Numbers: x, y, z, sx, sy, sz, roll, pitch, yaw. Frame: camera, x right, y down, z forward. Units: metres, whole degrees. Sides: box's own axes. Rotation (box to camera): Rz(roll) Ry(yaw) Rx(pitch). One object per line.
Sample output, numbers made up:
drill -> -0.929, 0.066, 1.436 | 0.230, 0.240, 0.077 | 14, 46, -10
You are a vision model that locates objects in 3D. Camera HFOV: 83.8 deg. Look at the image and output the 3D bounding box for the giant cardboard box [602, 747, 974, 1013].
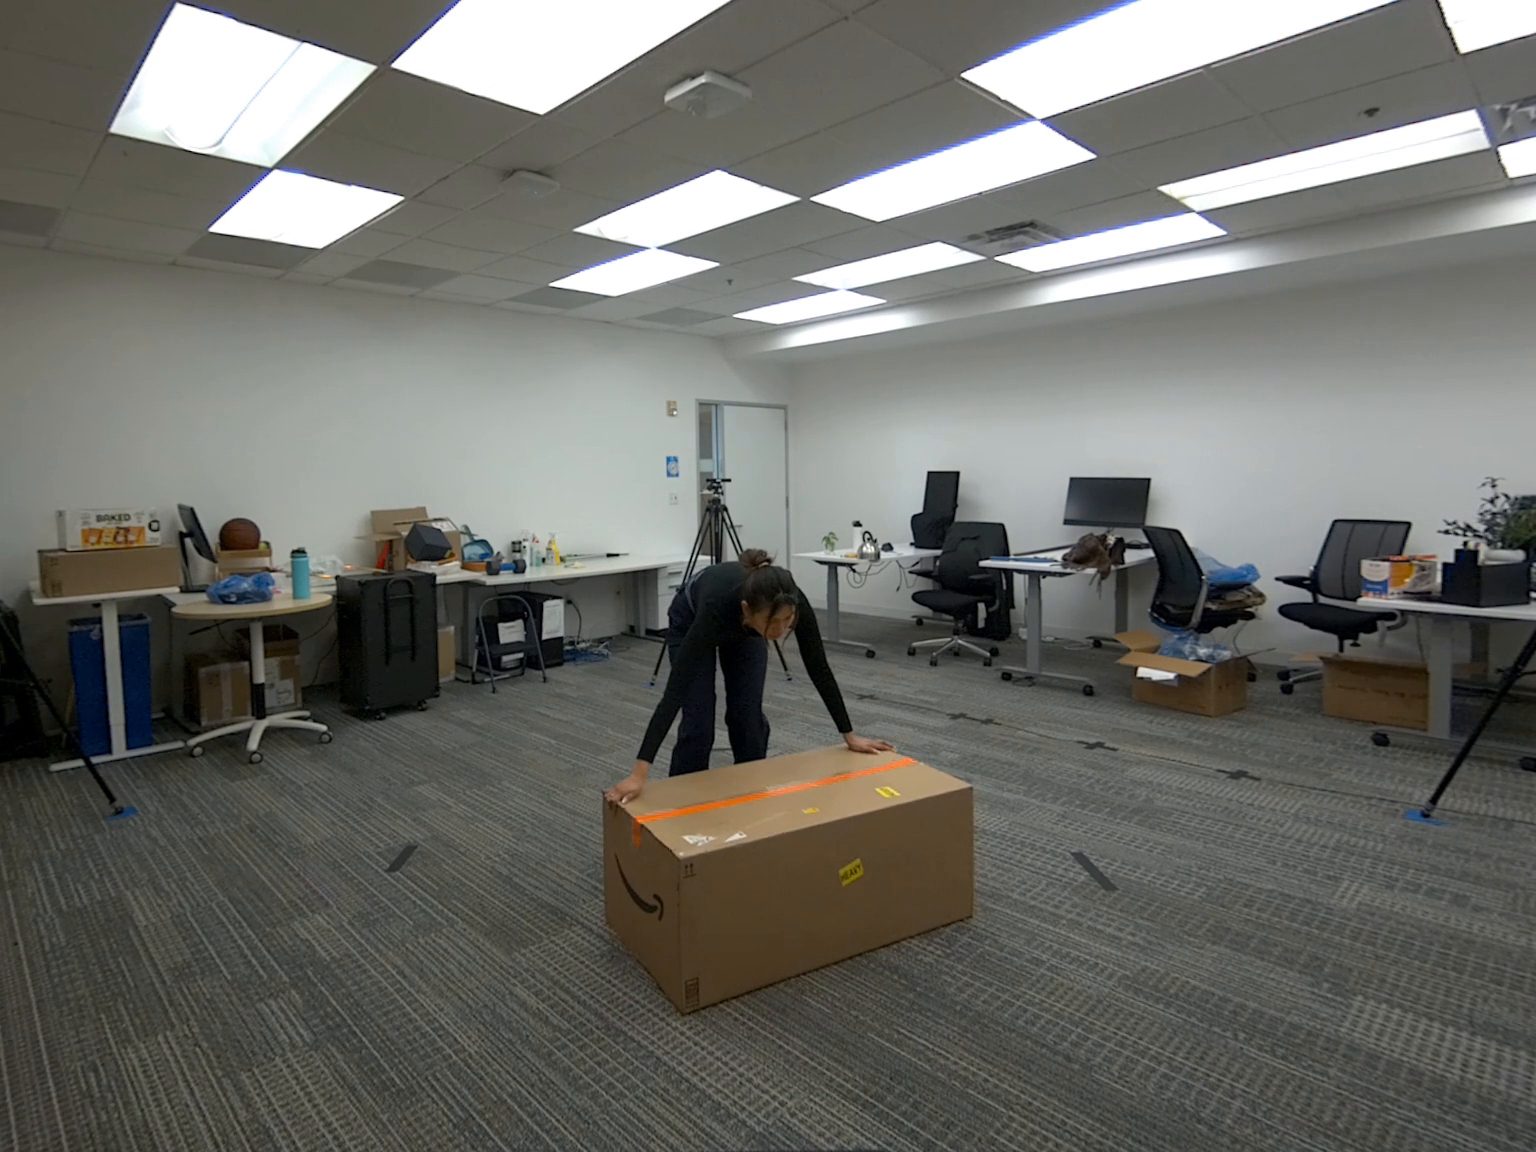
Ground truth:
giant cardboard box -> 0.069, 0.872, 2.695 | 1.003, 0.424, 0.593 | -5, 6, -29
